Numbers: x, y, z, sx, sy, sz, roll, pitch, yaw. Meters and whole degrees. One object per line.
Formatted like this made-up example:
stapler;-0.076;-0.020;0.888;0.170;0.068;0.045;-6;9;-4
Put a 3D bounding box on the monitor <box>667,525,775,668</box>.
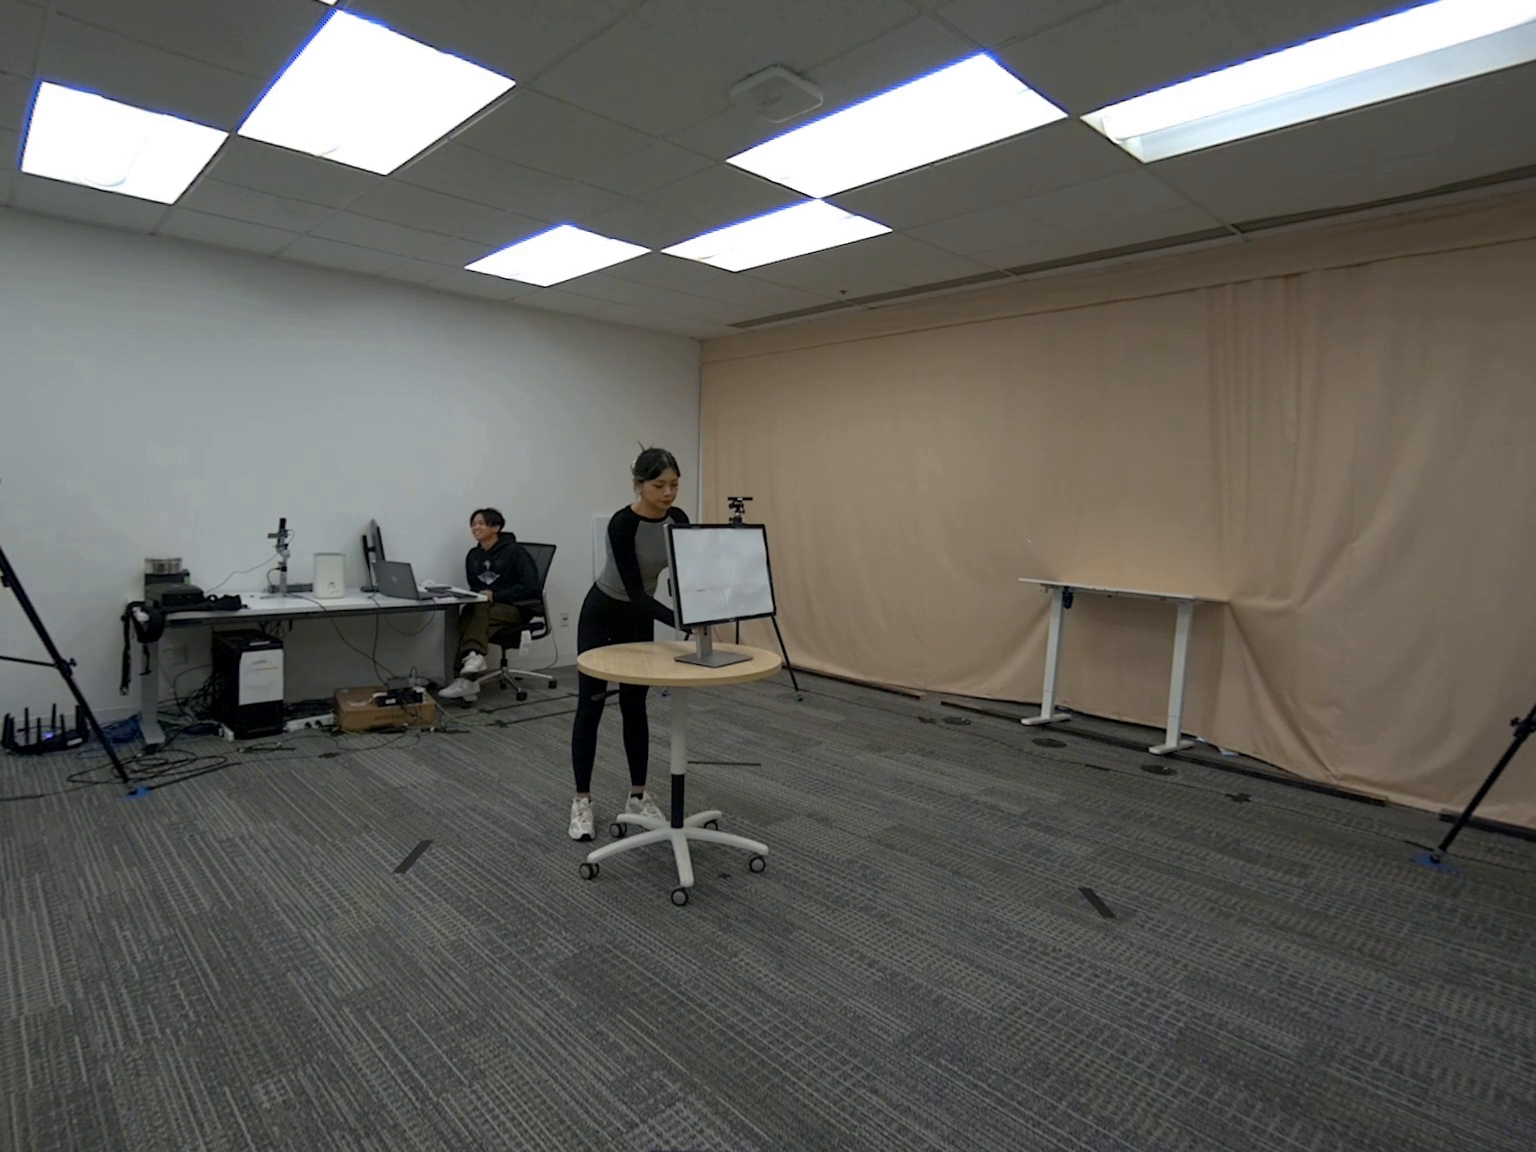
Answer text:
monitor;-0.200;0.067;3.116;0.179;0.514;0.518;13;9;35
